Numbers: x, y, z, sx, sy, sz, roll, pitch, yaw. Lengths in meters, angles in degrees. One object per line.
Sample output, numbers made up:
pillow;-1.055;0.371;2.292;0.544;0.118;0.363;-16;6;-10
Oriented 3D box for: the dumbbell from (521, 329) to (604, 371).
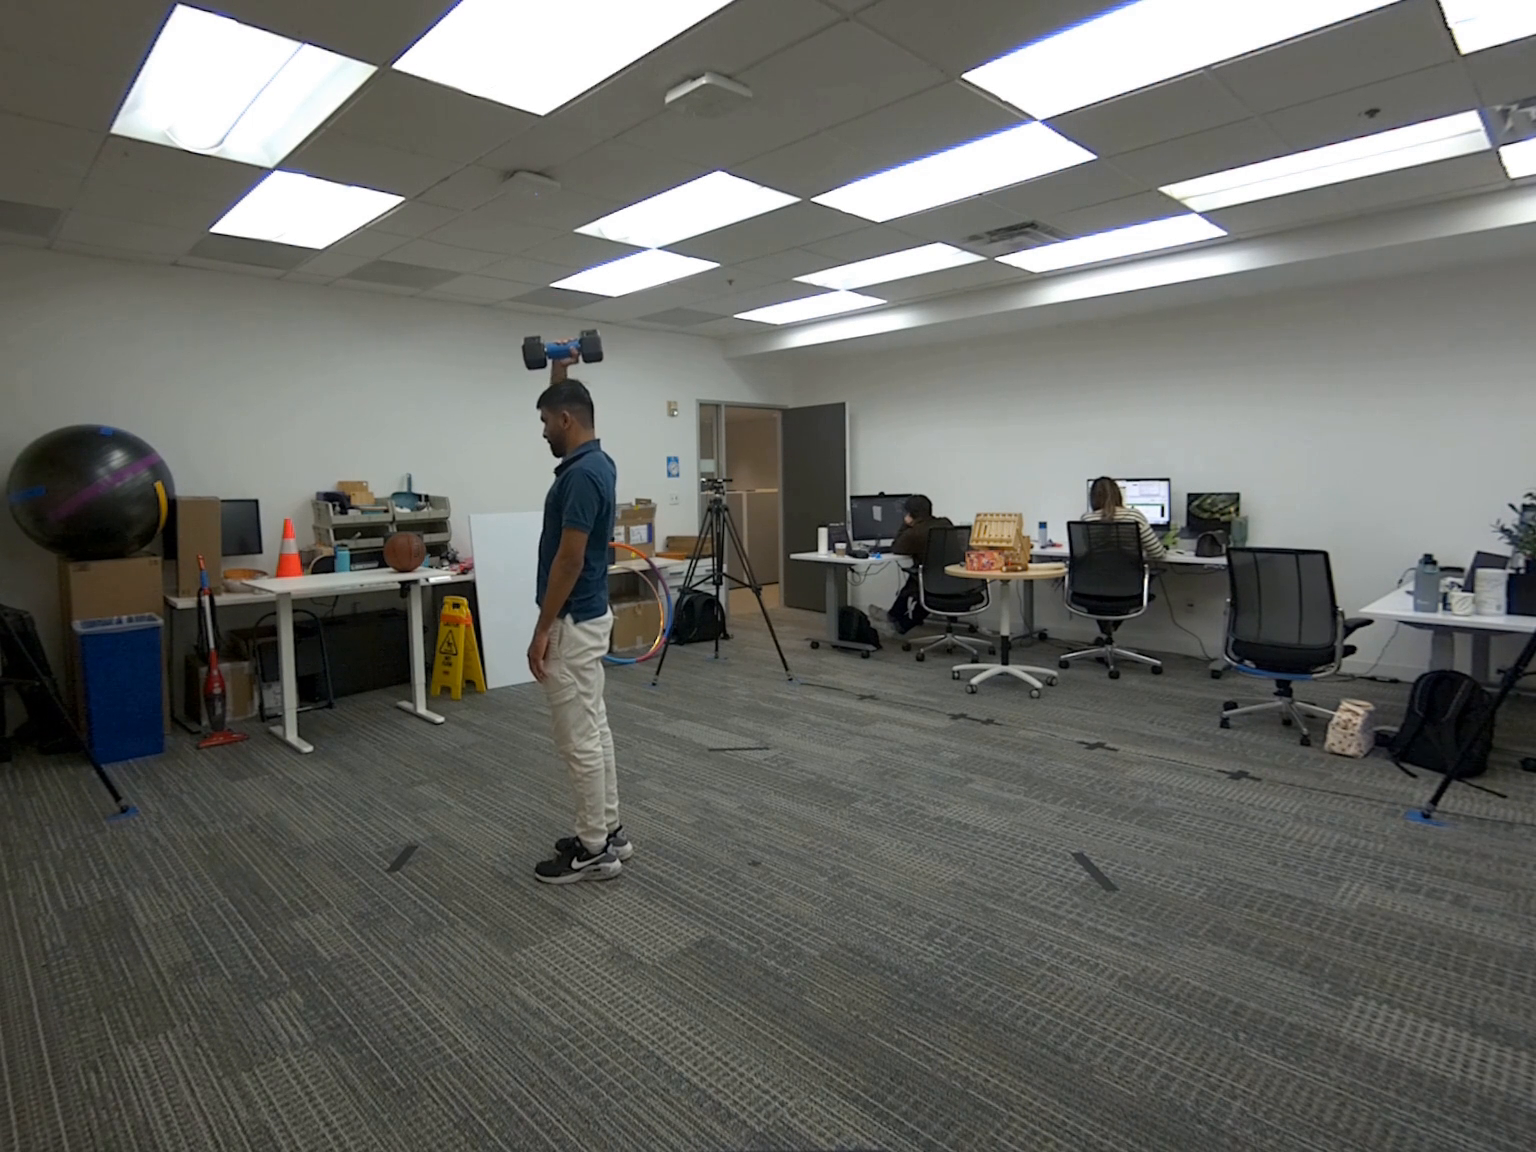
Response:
dumbbell;-0.766;-0.847;3.199;0.292;0.106;0.127;-8;34;-4
